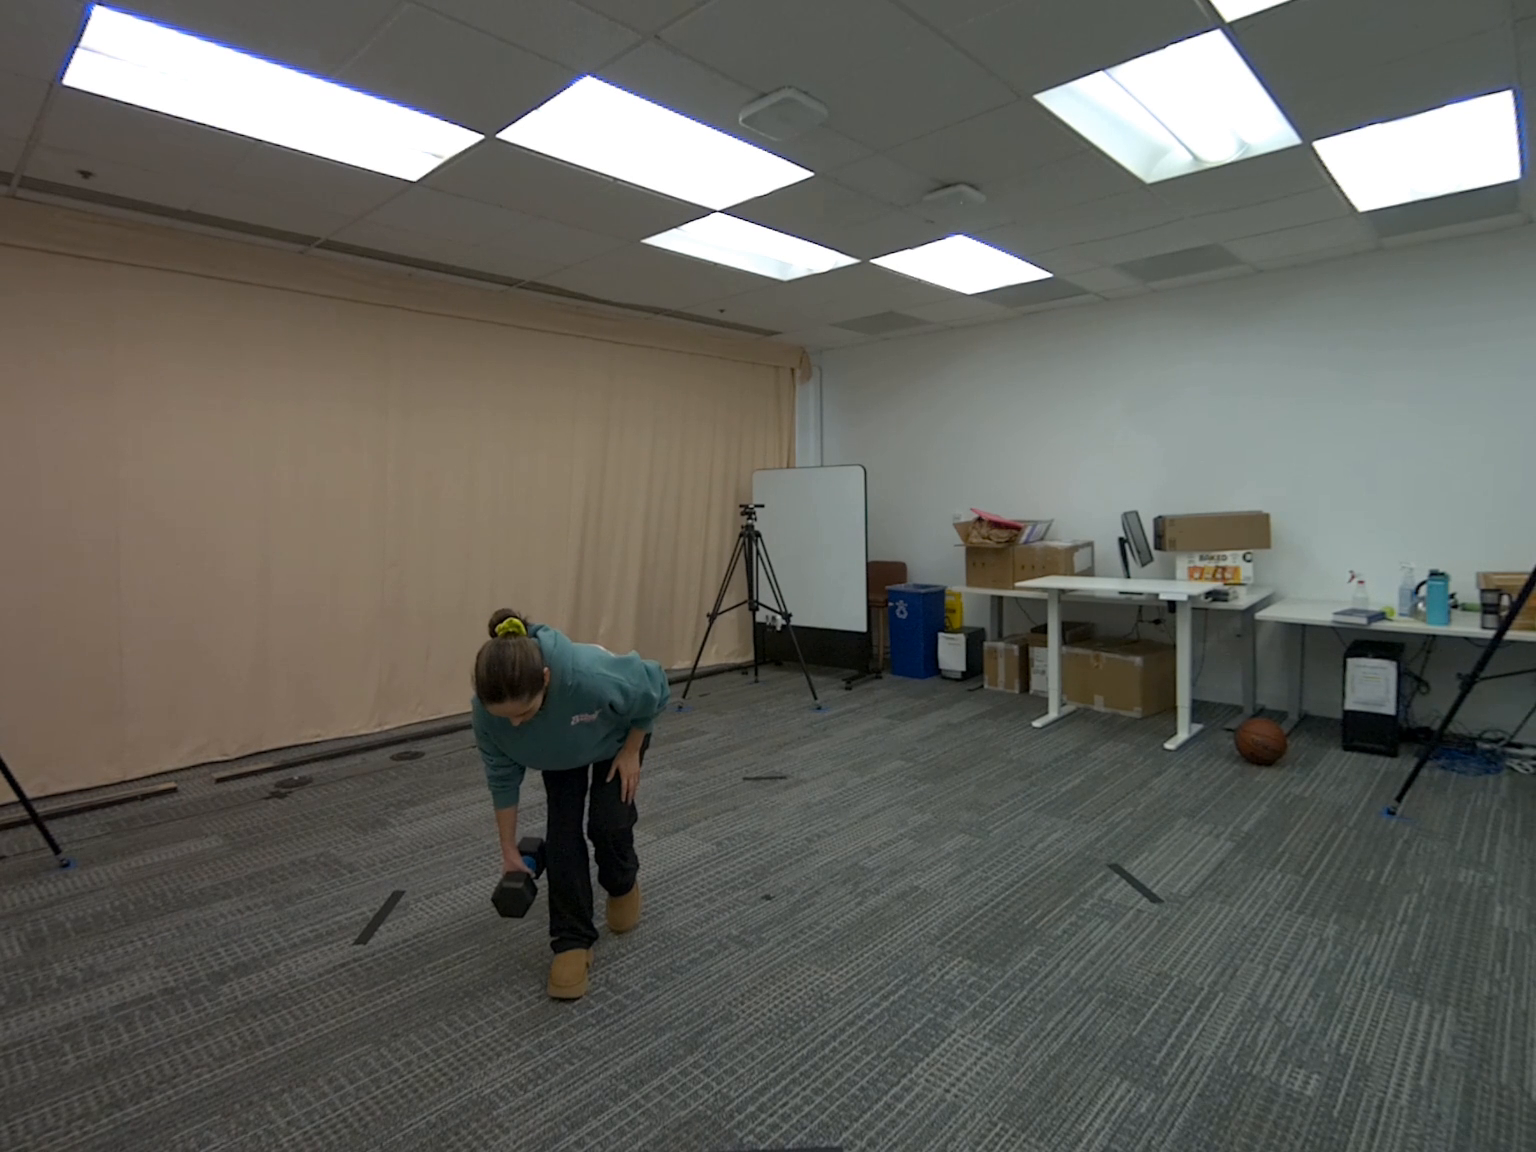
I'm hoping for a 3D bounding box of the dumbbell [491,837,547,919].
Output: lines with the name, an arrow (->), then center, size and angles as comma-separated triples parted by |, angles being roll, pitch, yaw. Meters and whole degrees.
dumbbell -> -0.718, 0.878, 2.468 | 0.109, 0.122, 0.296 | -27, 9, -1
